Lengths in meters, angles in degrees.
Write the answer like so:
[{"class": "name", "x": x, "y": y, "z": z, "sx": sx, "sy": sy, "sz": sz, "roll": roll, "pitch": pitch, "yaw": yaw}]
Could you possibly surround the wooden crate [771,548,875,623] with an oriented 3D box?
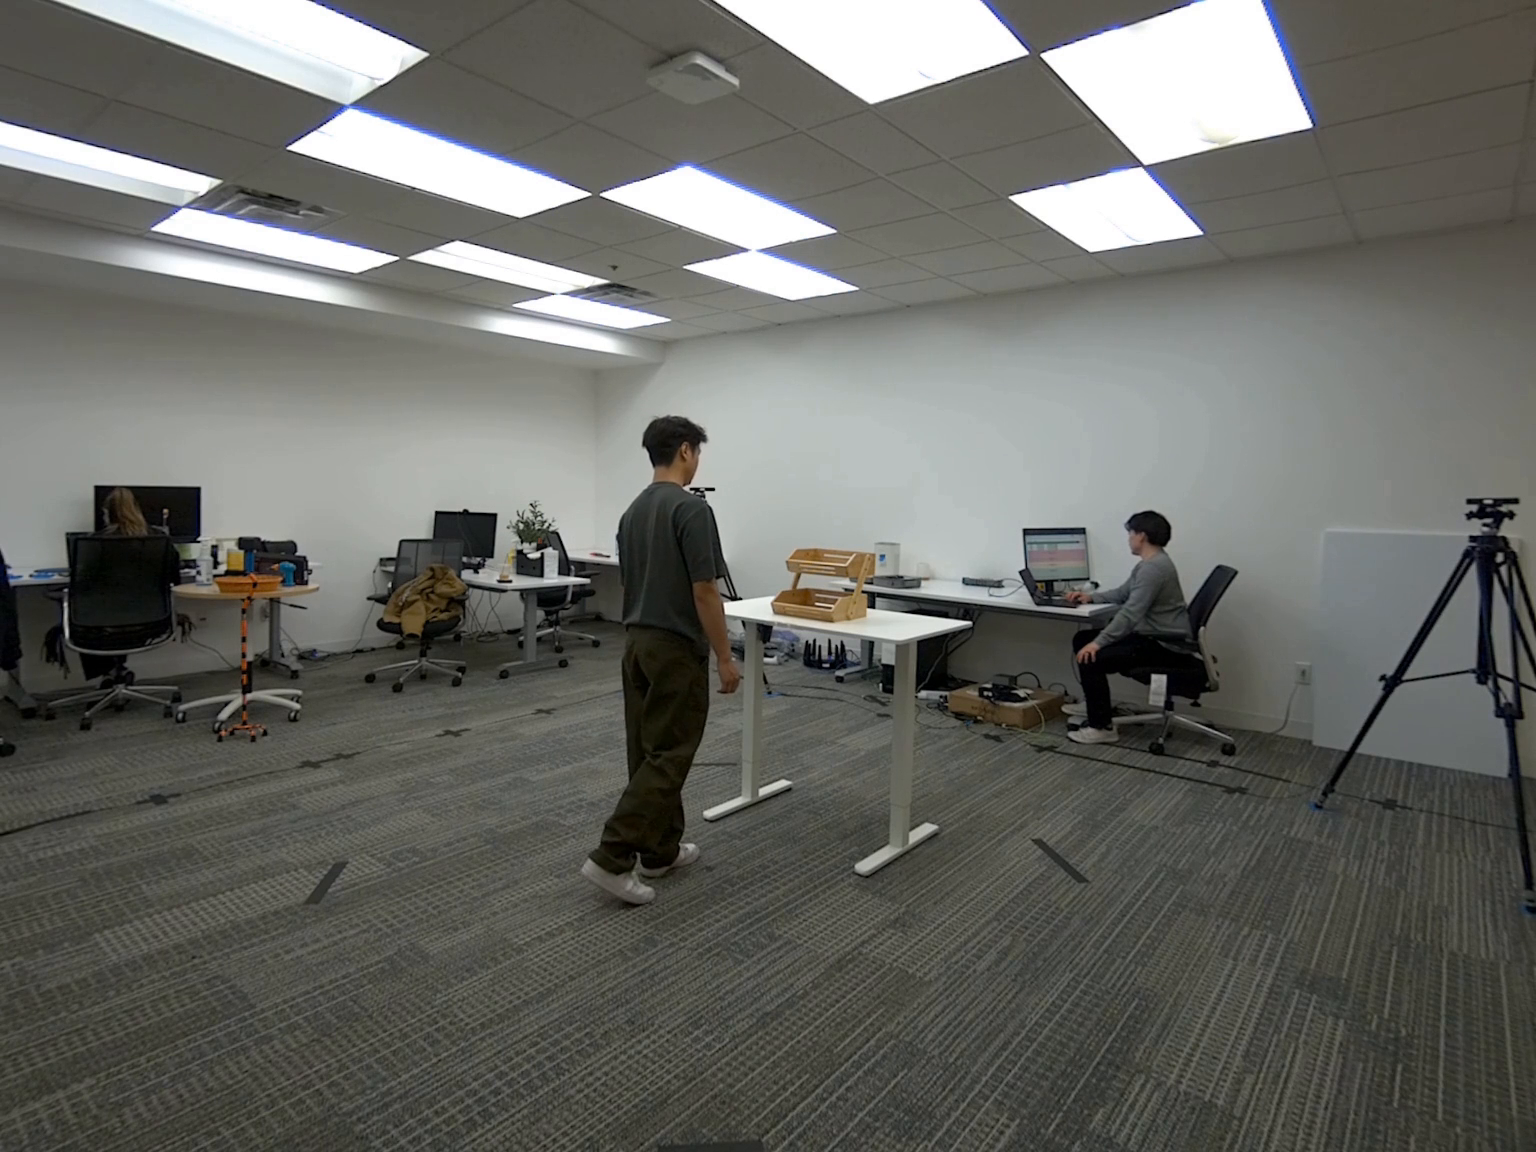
[{"class": "wooden crate", "x": 0.215, "y": 0.023, "z": 3.477, "sx": 0.335, "sy": 0.272, "sz": 0.293, "roll": 6, "pitch": 6, "yaw": 39}]
